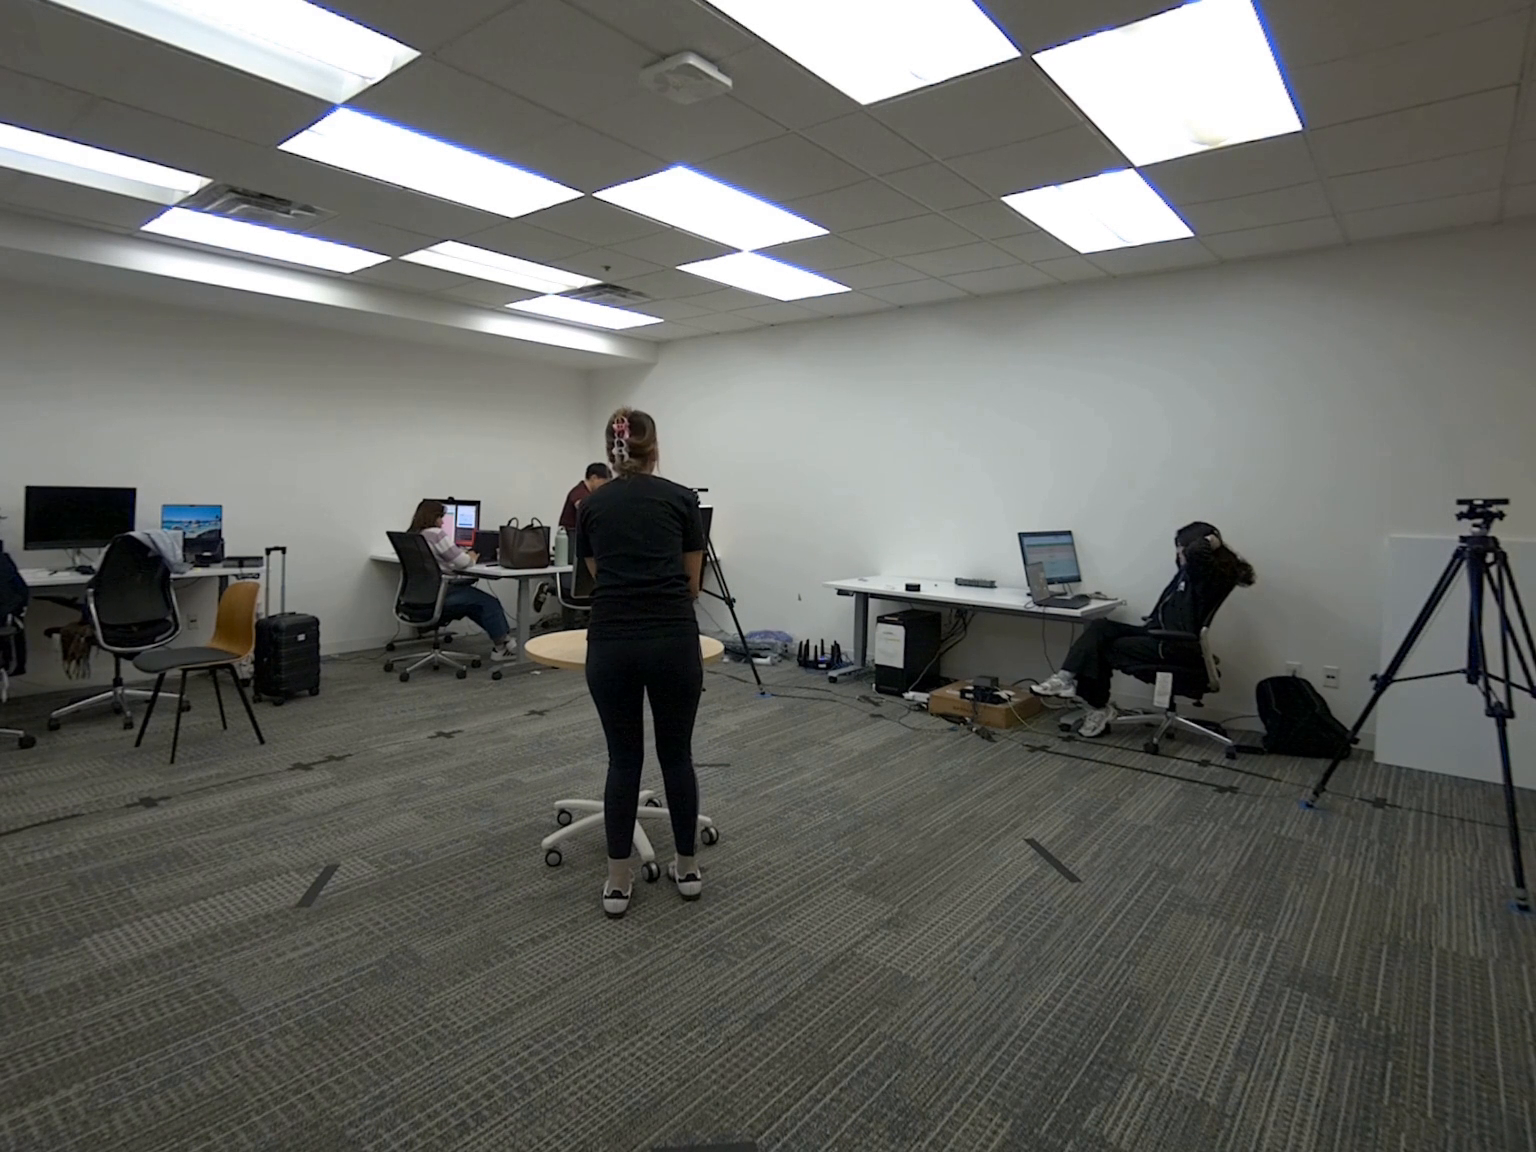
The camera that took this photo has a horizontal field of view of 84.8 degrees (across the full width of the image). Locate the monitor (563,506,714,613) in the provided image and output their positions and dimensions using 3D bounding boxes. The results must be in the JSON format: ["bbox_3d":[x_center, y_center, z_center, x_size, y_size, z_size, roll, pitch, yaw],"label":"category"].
[{"bbox_3d":[-0.479,0.000,3.298,0.524,0.521,0.193,-2,5,-33],"label":"monitor"}]
